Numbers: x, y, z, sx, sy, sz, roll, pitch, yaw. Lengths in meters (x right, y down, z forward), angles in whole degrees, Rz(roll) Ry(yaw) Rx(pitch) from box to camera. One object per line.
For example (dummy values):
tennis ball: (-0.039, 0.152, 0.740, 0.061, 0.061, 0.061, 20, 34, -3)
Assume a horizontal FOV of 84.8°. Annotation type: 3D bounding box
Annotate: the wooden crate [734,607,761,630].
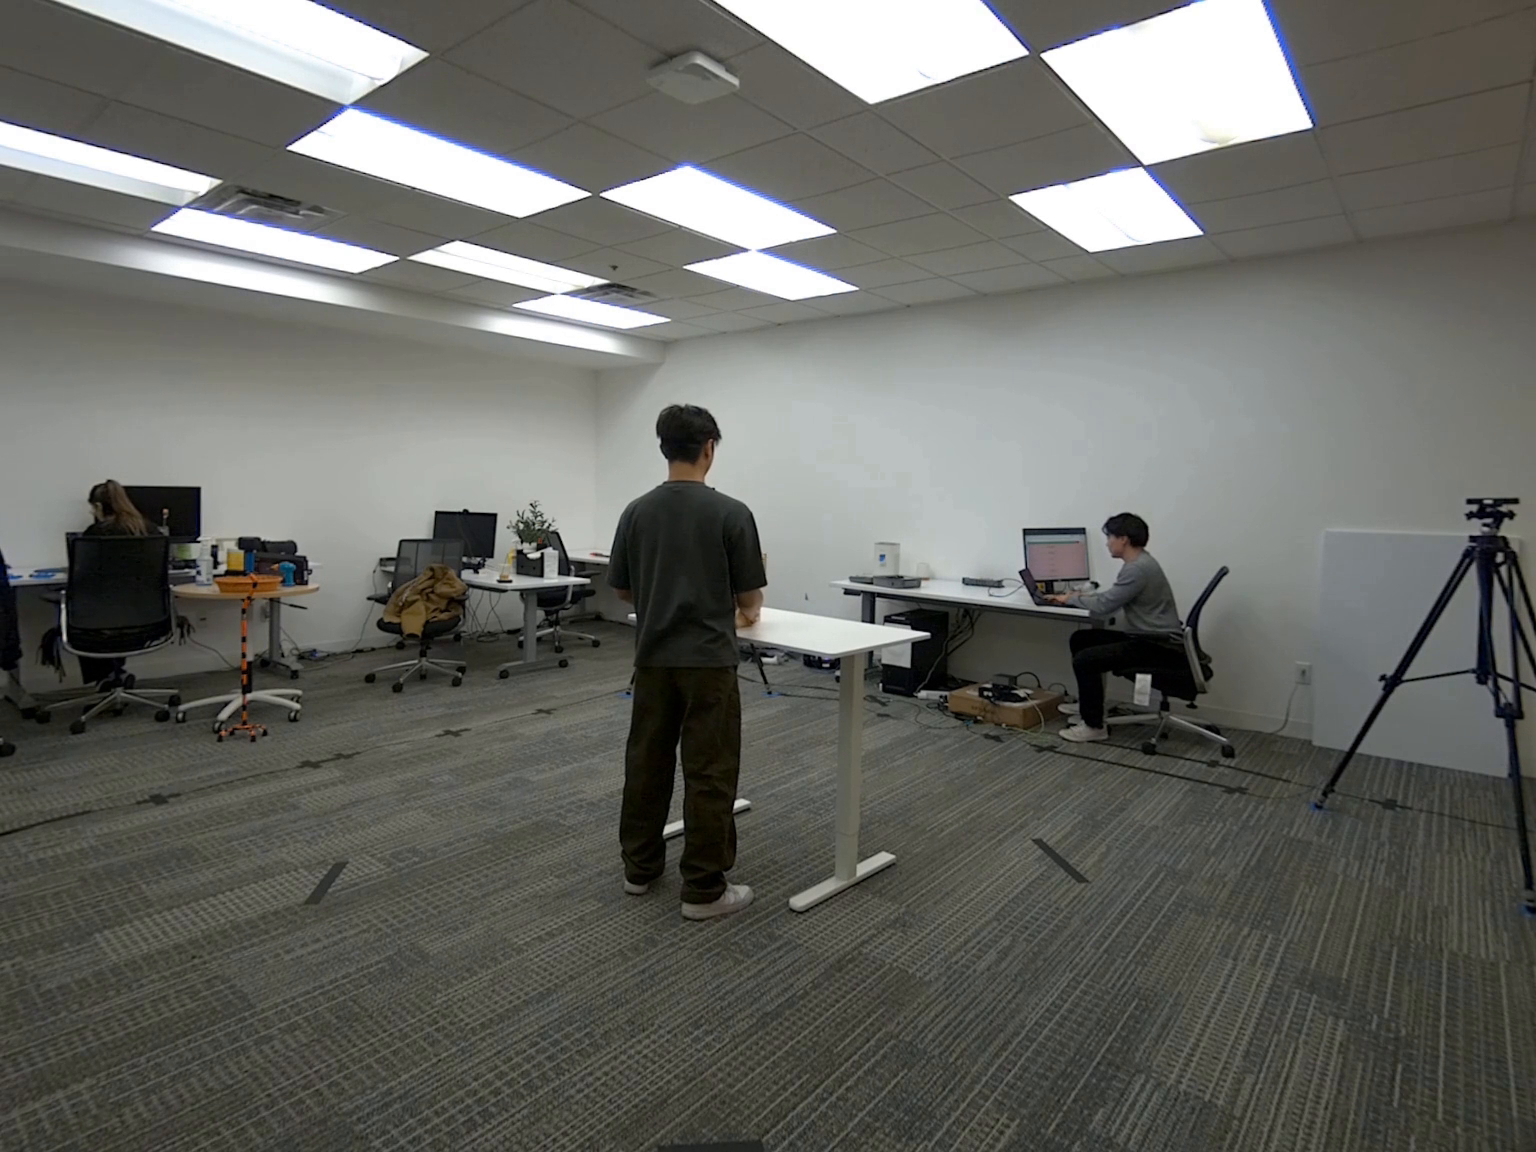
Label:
wooden crate: (-0.205, 0.037, 3.249, 0.332, 0.272, 0.296, 3, 5, 22)
